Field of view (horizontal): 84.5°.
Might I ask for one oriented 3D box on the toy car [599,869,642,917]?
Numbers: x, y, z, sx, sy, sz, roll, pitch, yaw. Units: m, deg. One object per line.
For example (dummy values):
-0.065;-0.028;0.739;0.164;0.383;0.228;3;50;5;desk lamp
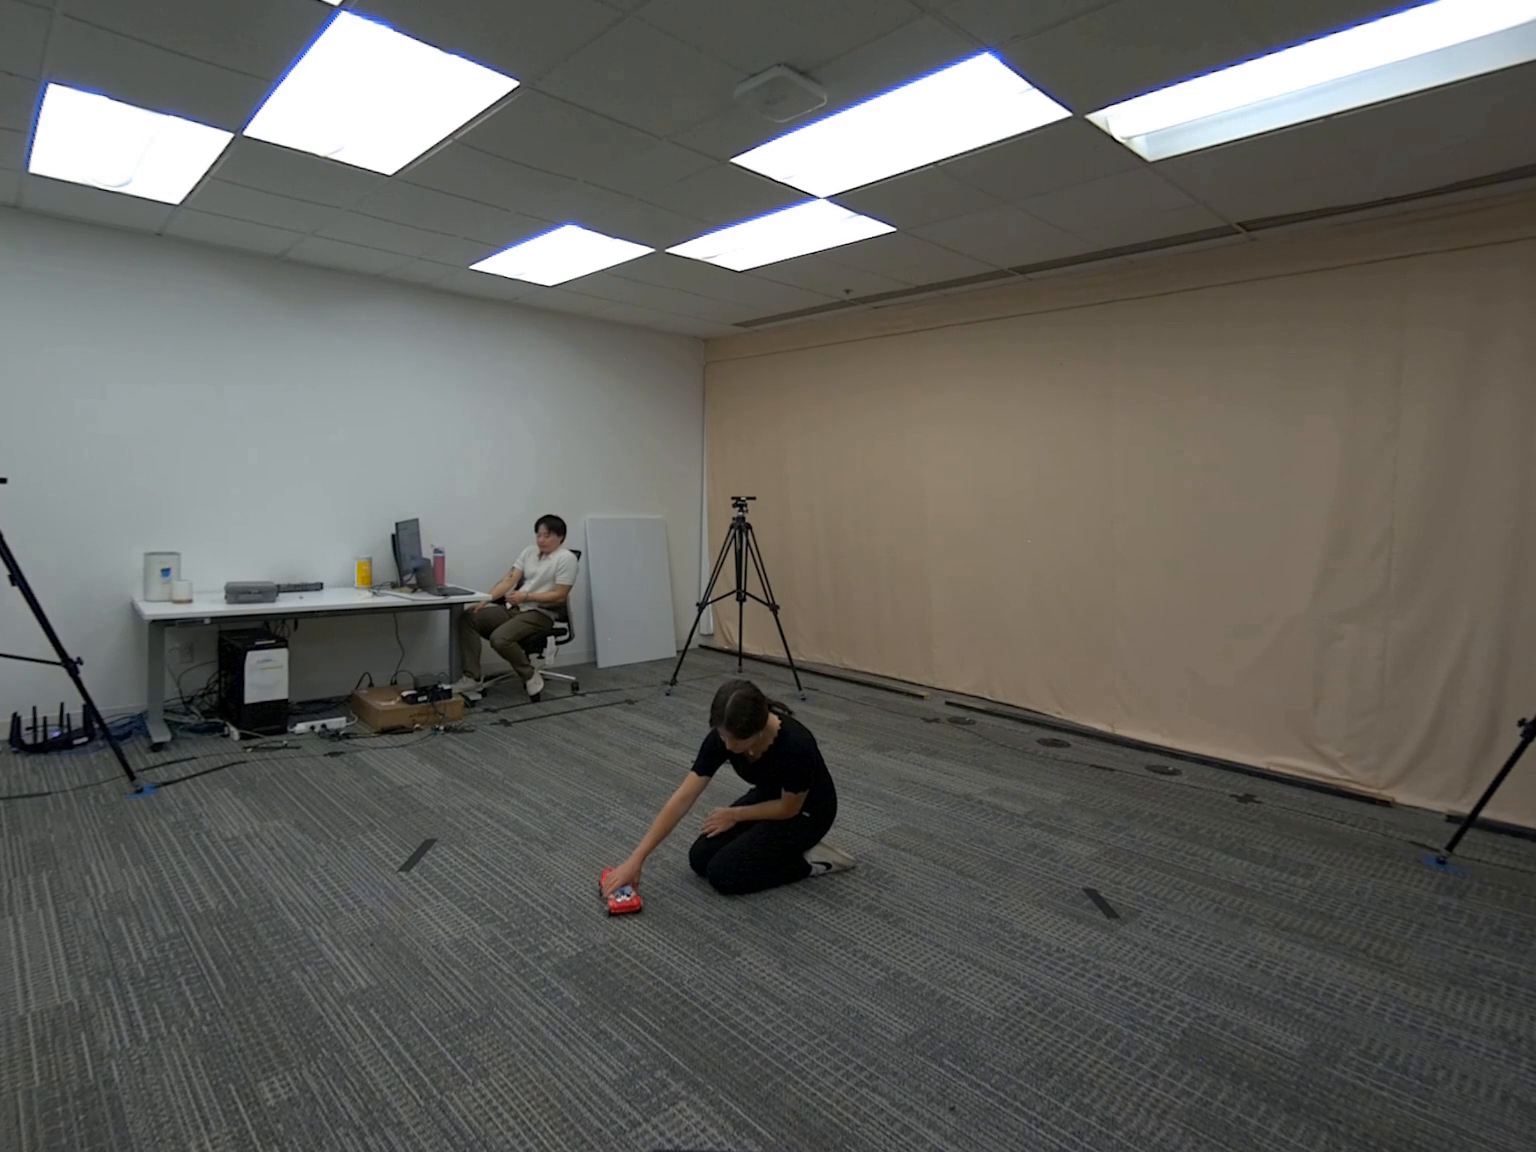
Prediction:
-0.516;1.088;2.890;0.128;0.082;0.261;0;16;-20;toy car
